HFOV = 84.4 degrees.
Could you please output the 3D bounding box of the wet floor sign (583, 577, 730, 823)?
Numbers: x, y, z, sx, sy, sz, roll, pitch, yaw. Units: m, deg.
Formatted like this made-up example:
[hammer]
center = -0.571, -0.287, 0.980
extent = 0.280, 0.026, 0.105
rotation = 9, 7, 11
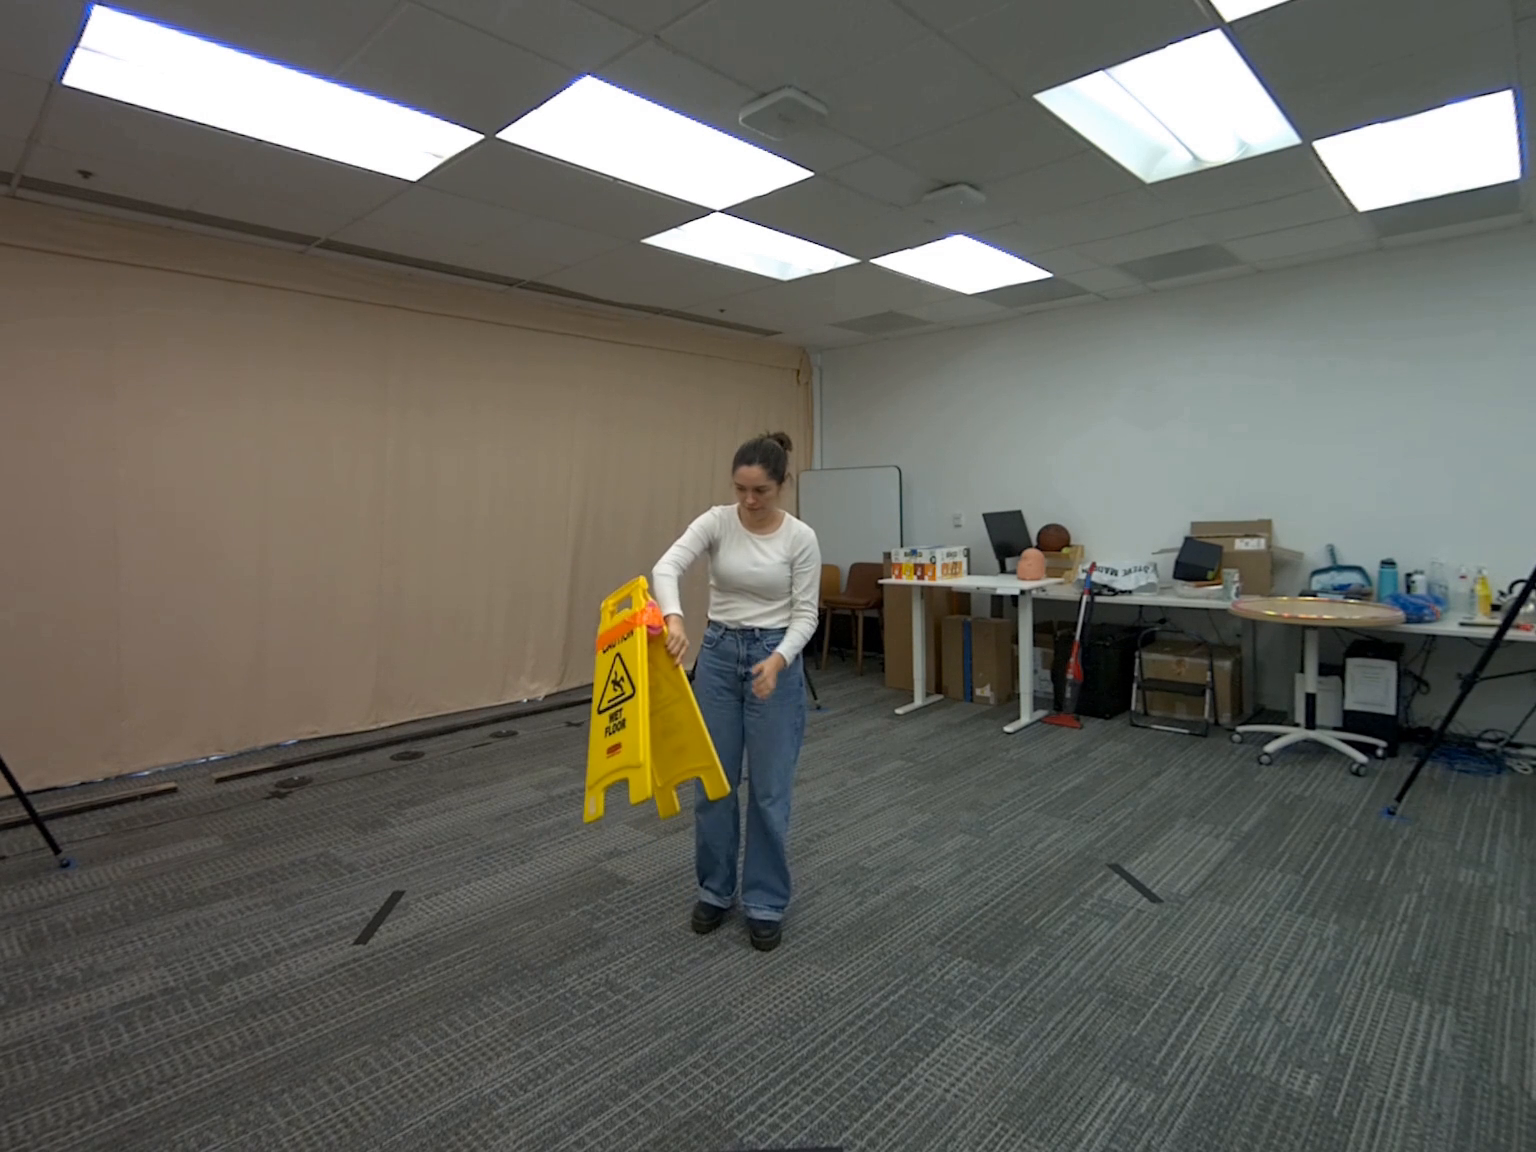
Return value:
[wet floor sign]
center = -0.353, 0.324, 2.355
extent = 0.287, 0.659, 0.279
rotation = -33, -29, 35
